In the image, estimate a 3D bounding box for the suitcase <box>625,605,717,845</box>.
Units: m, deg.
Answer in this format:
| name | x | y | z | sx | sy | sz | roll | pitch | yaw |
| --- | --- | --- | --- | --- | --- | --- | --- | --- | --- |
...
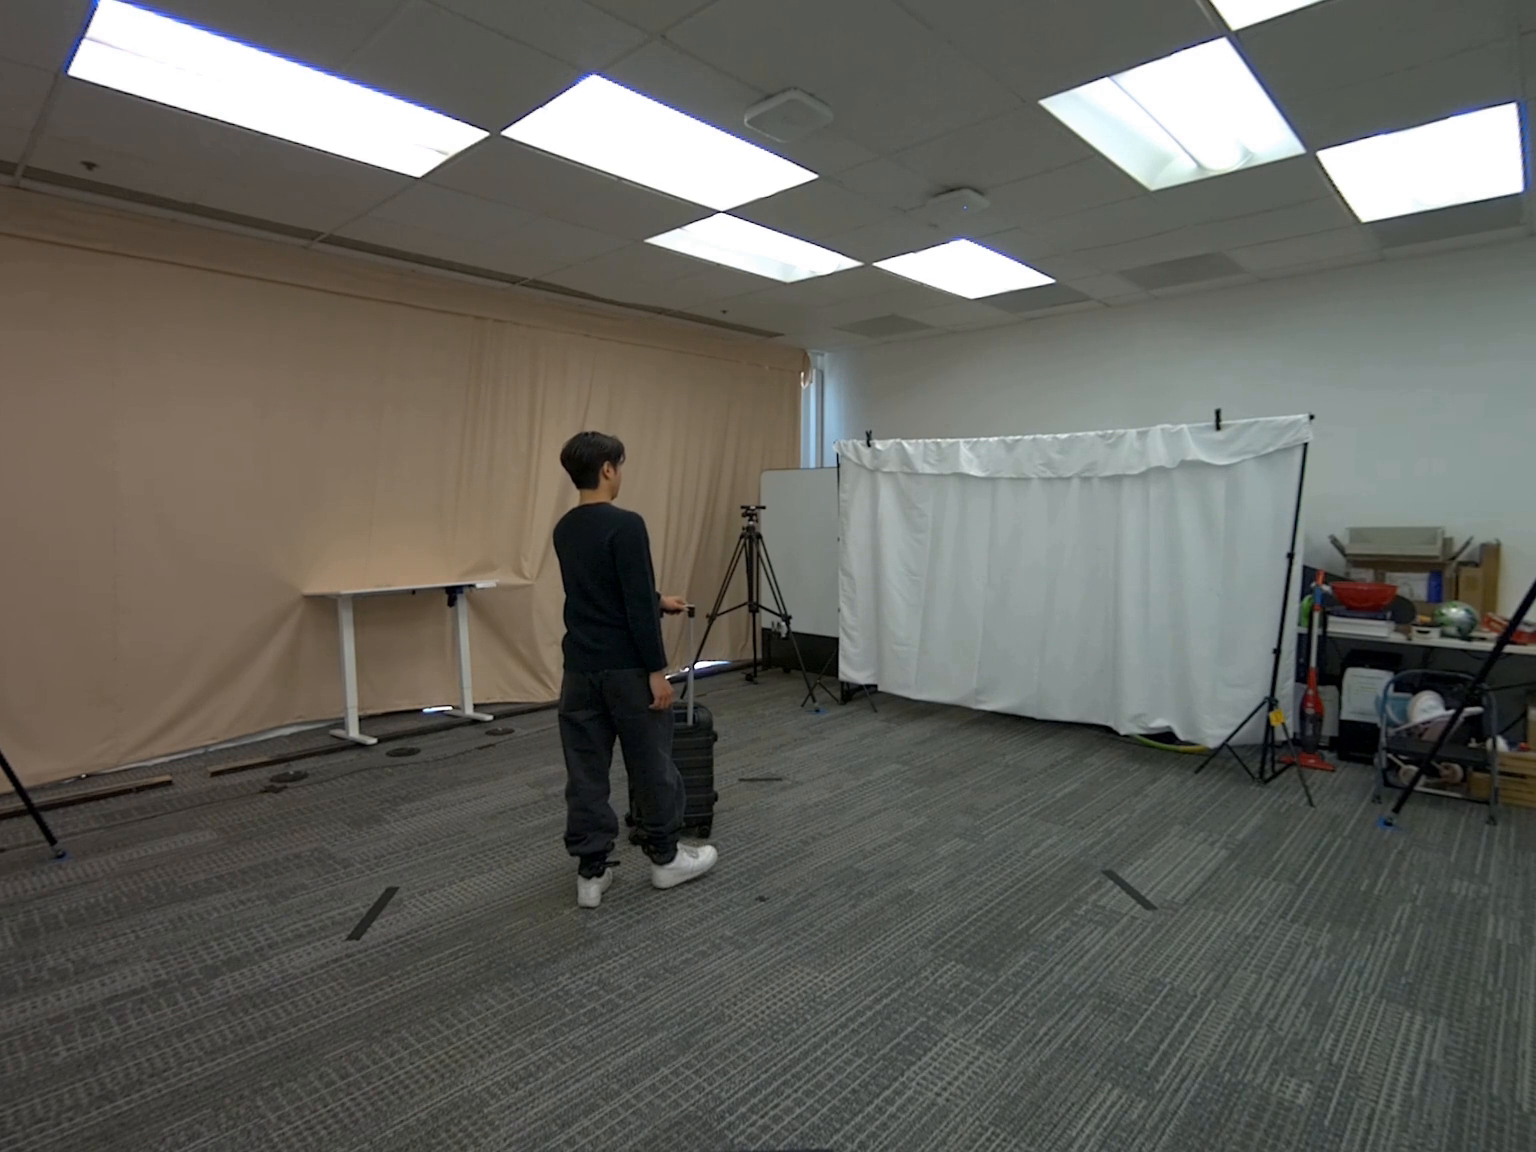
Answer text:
| name | x | y | z | sx | sy | sz | roll | pitch | yaw |
| --- | --- | --- | --- | --- | --- | --- | --- | --- | --- |
| suitcase | -0.417 | 0.616 | 3.598 | 0.379 | 0.978 | 0.260 | 0 | 0 | -12 |
